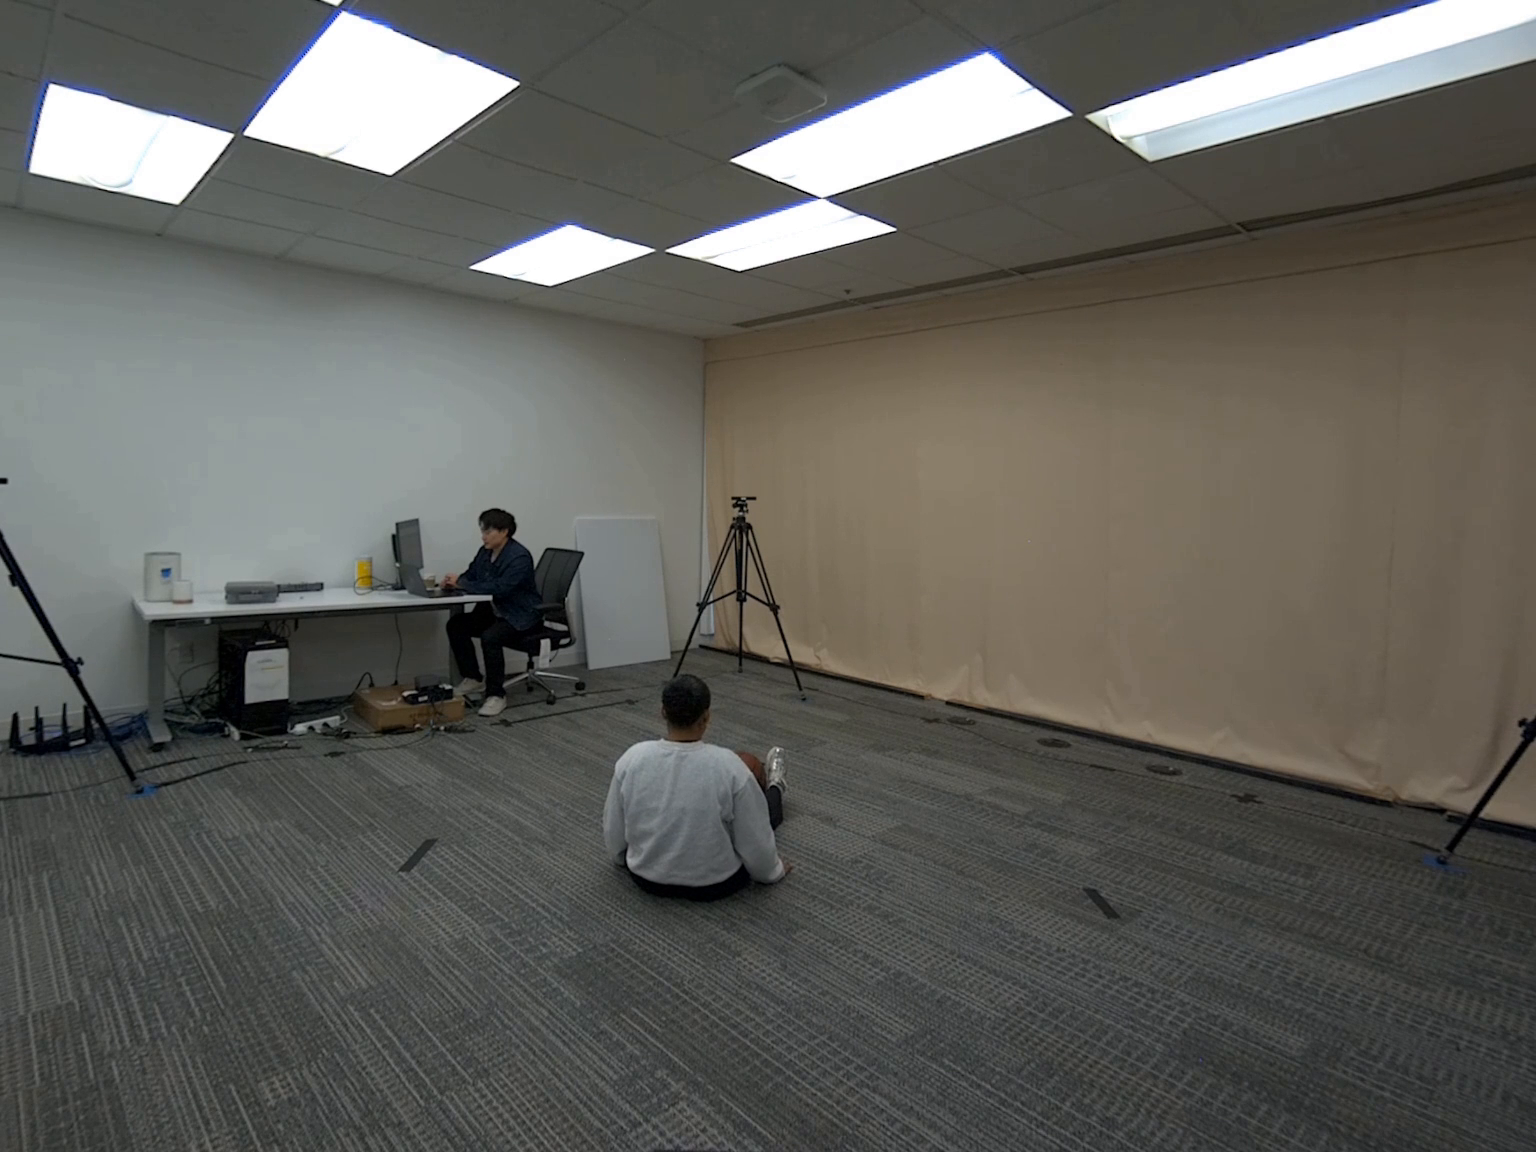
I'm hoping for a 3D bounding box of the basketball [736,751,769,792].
[{"bbox_3d":[-0.136,0.930,3.844,0.236,0.235,0.237,1,4,-1],"label":"basketball"}]
